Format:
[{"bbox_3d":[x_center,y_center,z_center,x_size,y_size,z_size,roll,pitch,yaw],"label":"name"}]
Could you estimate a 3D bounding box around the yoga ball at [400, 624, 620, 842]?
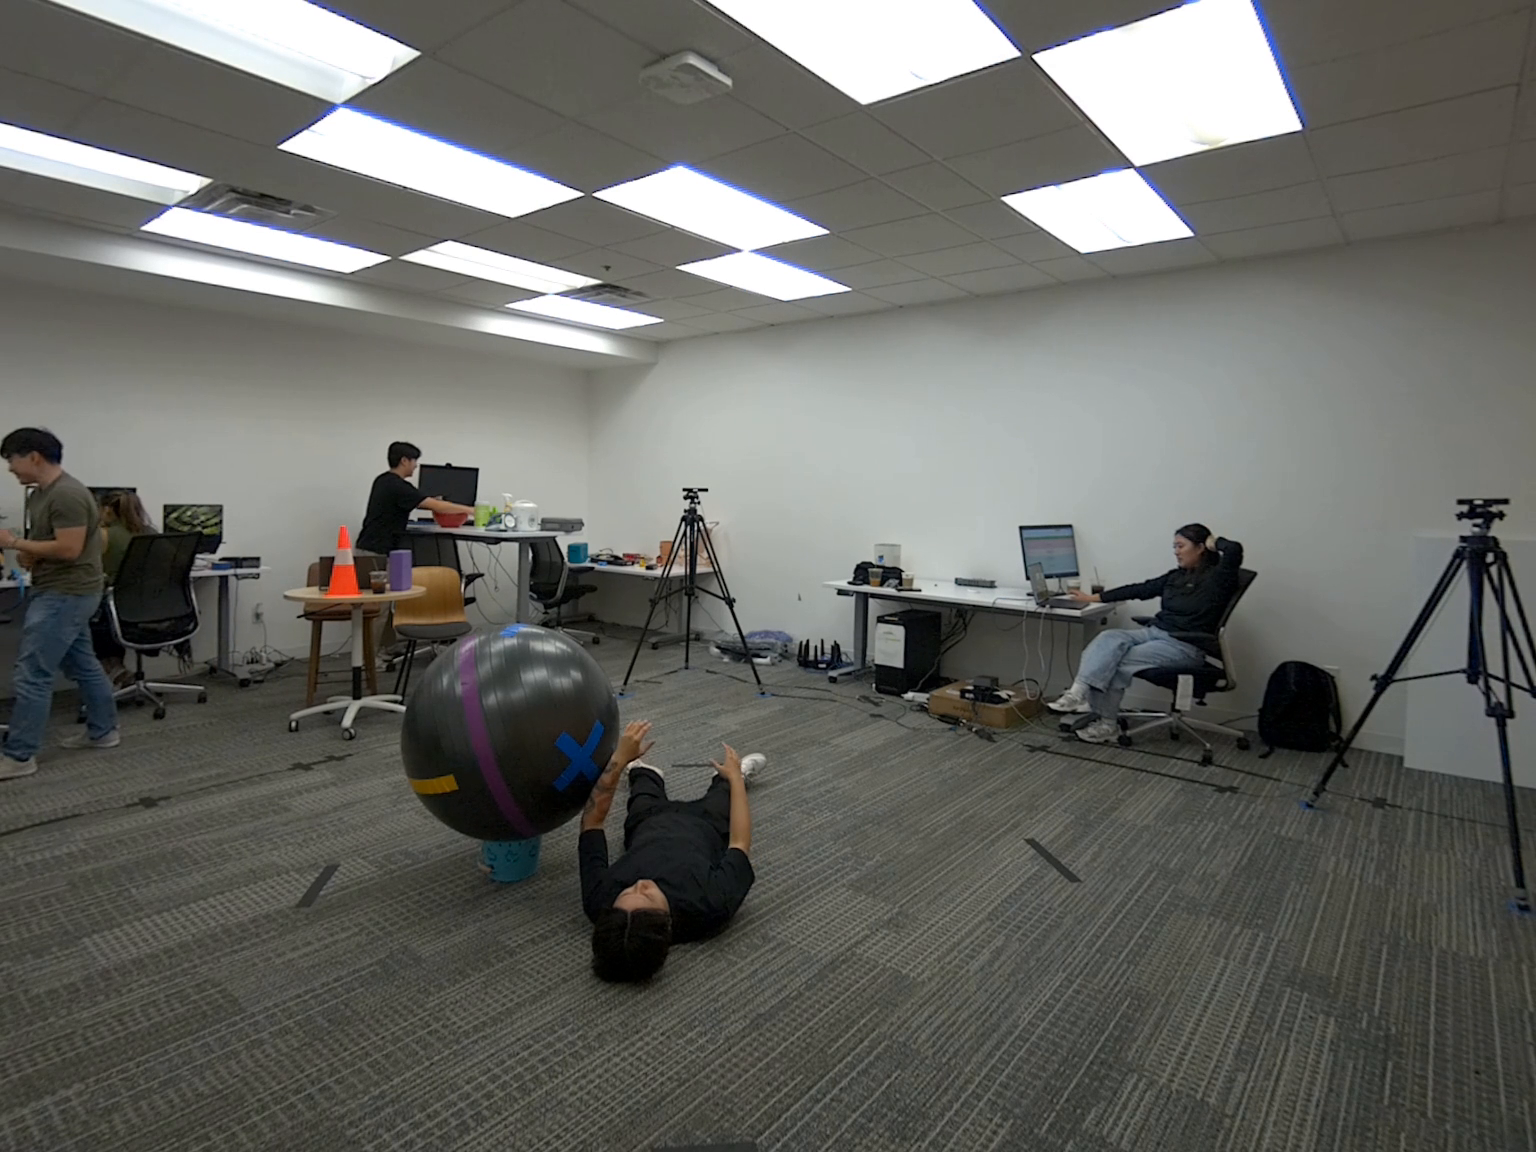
[{"bbox_3d":[-0.927,0.556,3.055,0.757,0.755,0.762,1,4,-2],"label":"yoga ball"}]
